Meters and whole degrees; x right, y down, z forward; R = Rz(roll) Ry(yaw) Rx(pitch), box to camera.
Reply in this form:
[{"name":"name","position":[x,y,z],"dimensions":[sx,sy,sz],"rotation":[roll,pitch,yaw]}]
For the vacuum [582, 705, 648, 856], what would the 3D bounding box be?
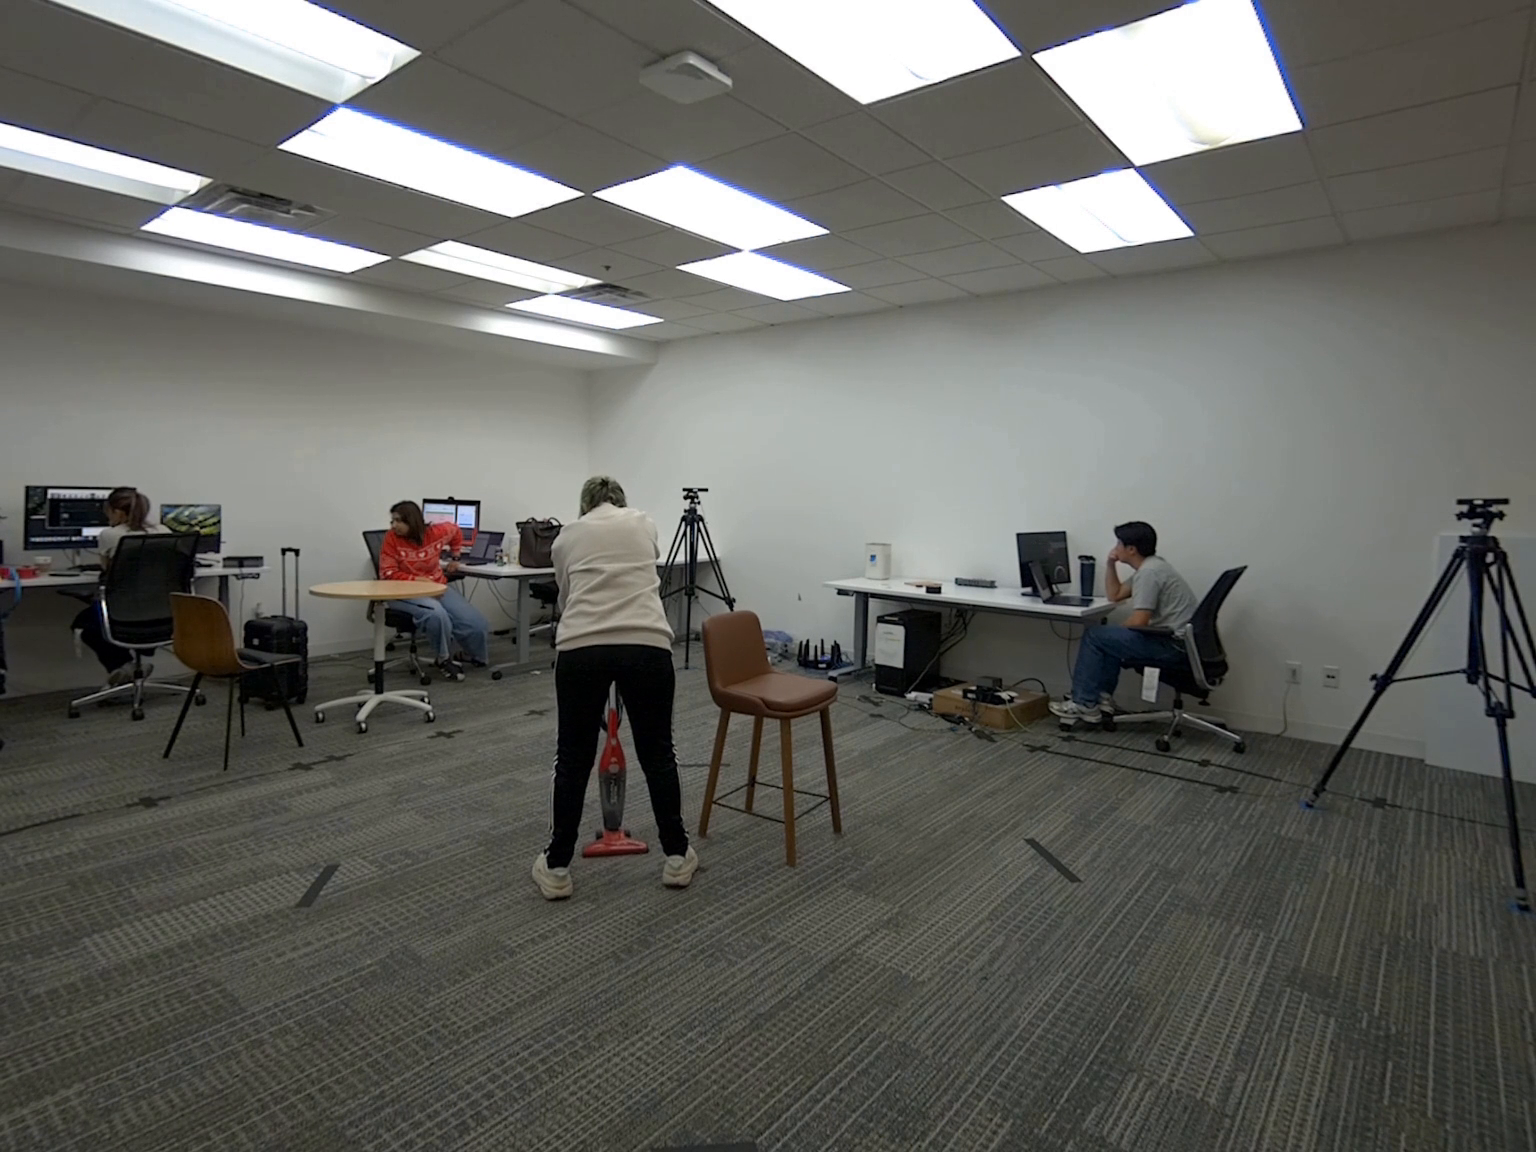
[{"name":"vacuum","position":[-0.649,0.552,3.480],"dimensions":[0.247,1.073,0.144],"rotation":[3,-24,-19]}]
